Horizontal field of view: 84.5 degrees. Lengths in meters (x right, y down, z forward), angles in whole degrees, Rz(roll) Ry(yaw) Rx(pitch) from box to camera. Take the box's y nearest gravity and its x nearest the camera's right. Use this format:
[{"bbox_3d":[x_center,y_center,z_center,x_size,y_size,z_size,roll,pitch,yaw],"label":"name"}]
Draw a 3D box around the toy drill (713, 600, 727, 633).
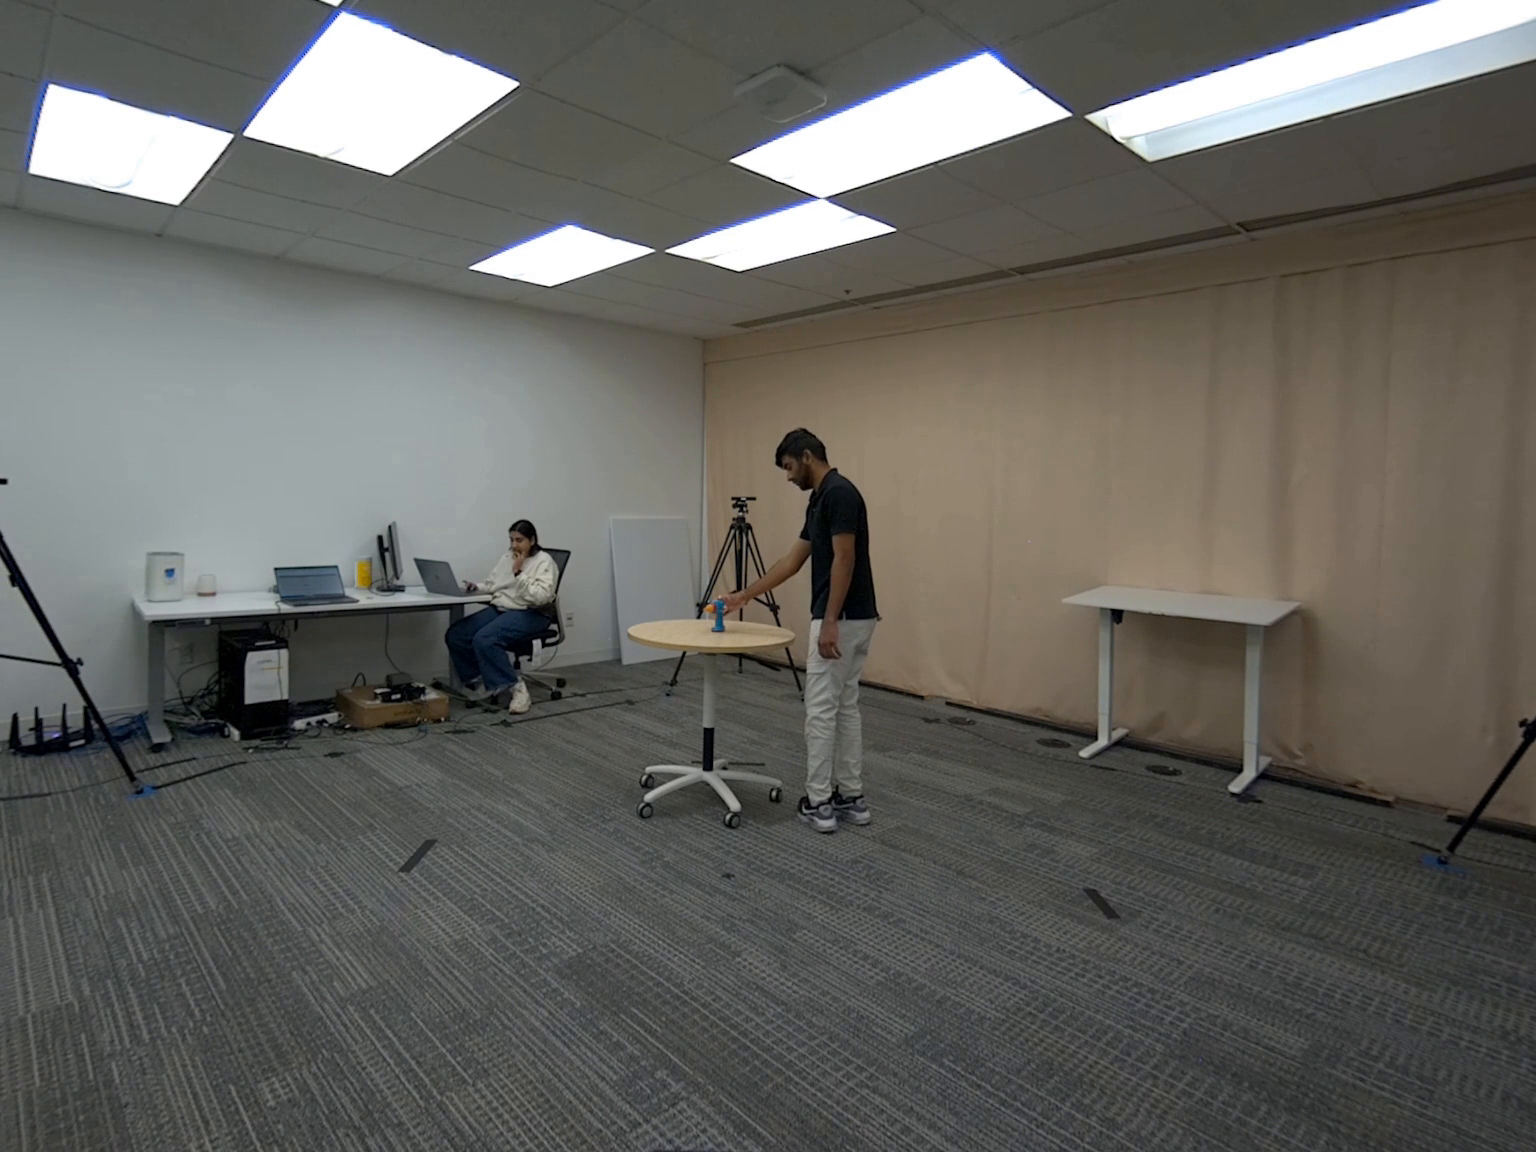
[{"bbox_3d":[-0.250,0.181,3.837,0.062,0.146,0.166,1,1,30],"label":"toy drill"}]
